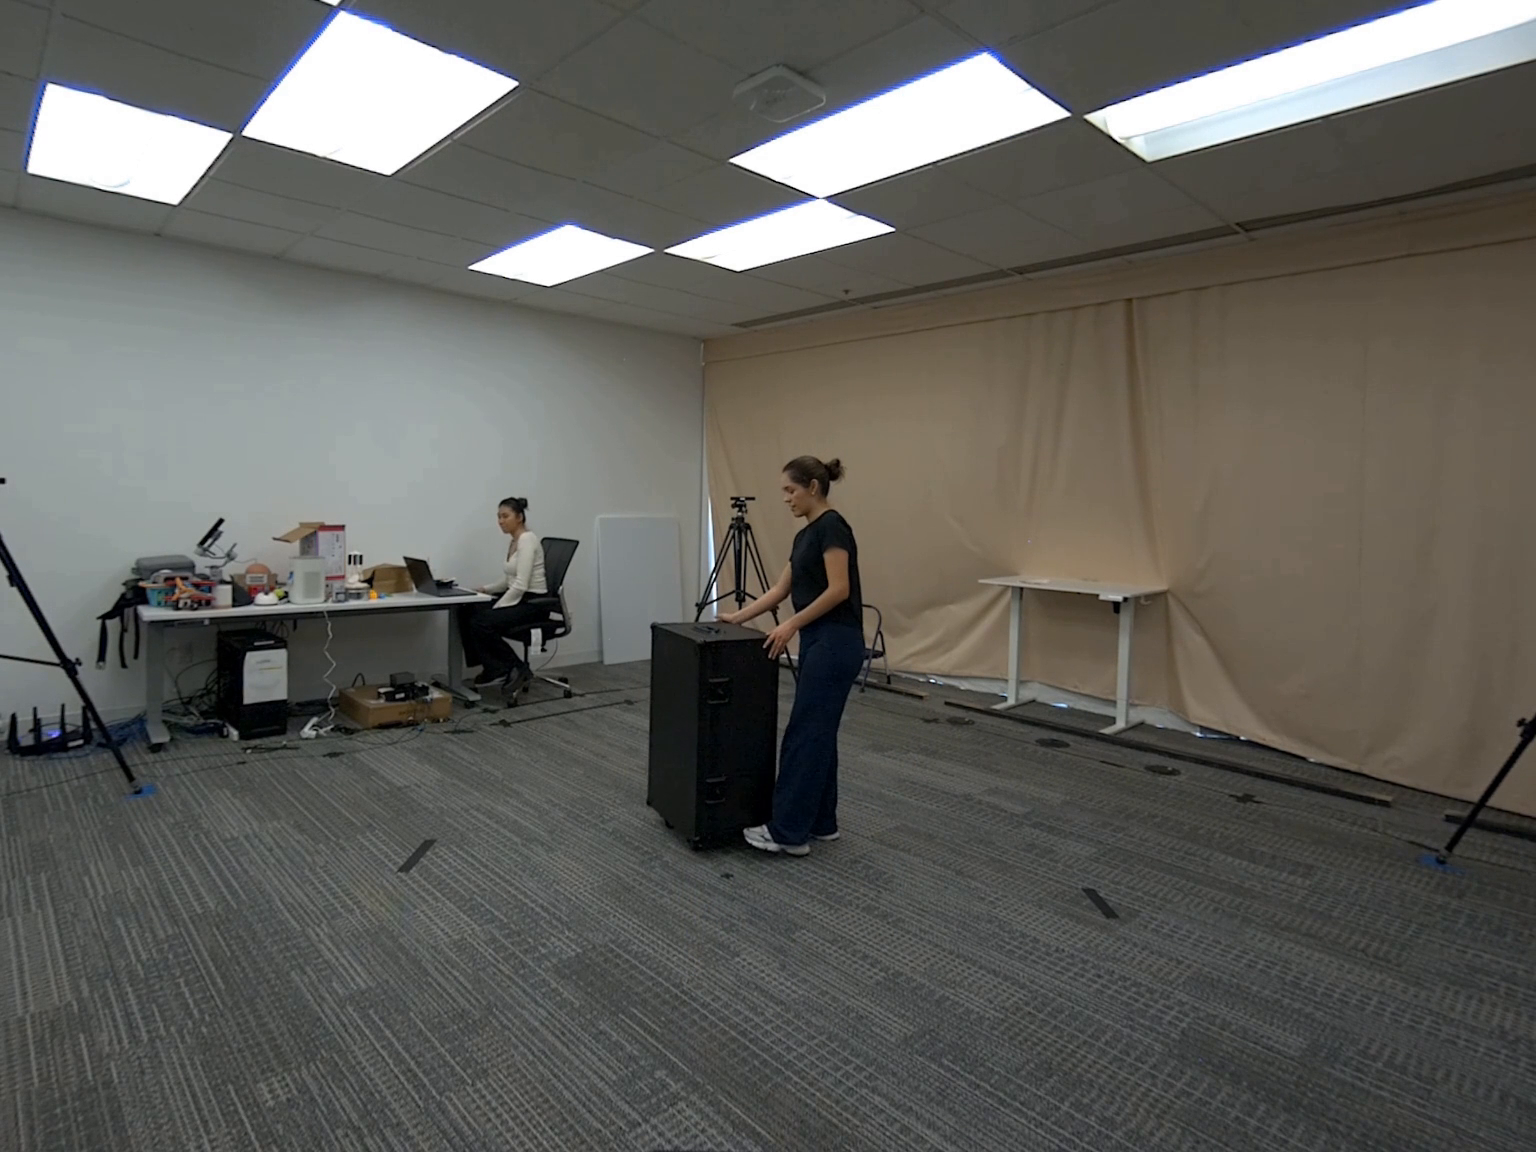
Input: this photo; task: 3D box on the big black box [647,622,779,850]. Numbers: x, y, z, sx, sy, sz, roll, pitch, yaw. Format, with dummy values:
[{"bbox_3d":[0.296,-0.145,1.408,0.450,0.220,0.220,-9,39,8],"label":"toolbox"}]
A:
[{"bbox_3d":[-0.237,0.641,3.475,0.388,0.860,0.532,1,3,-29],"label":"big black box"}]
